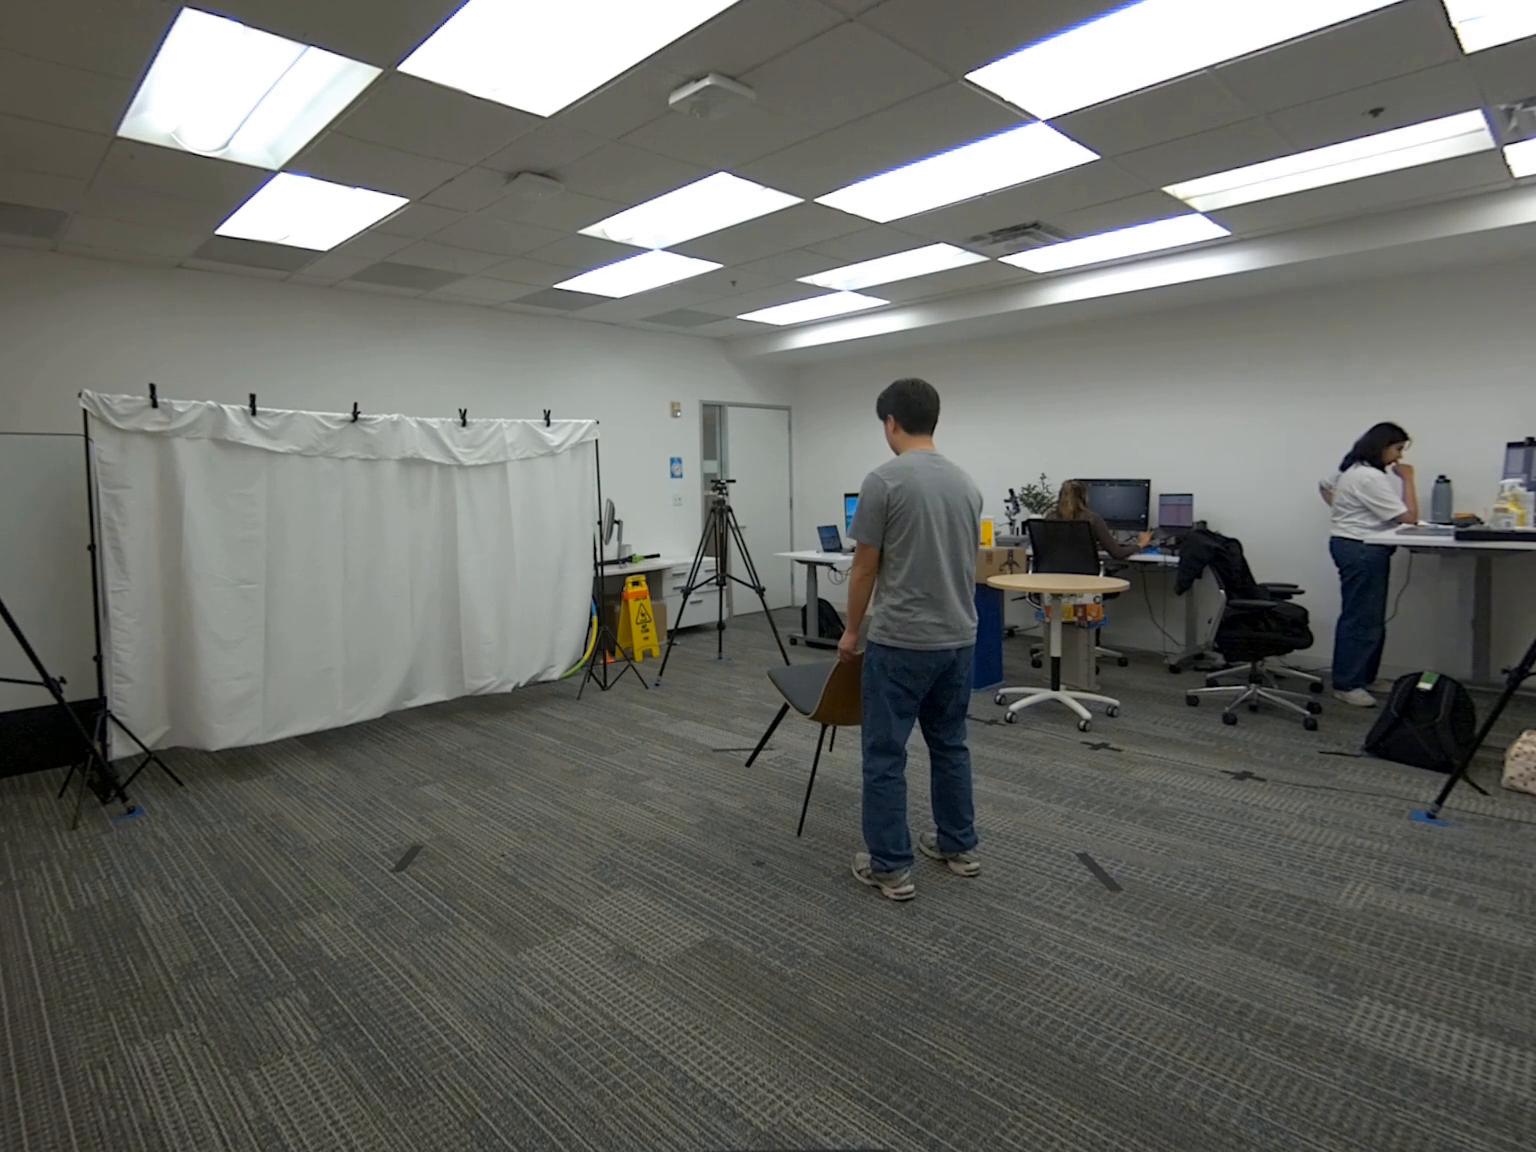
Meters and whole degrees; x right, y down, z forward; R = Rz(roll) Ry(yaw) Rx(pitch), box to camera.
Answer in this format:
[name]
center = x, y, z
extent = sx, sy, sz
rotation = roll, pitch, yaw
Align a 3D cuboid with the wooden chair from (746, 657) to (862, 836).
[wooden chair]
center = 0.266, 0.522, 3.469
extent = 0.467, 0.863, 0.544
rotation = -3, 29, -29
